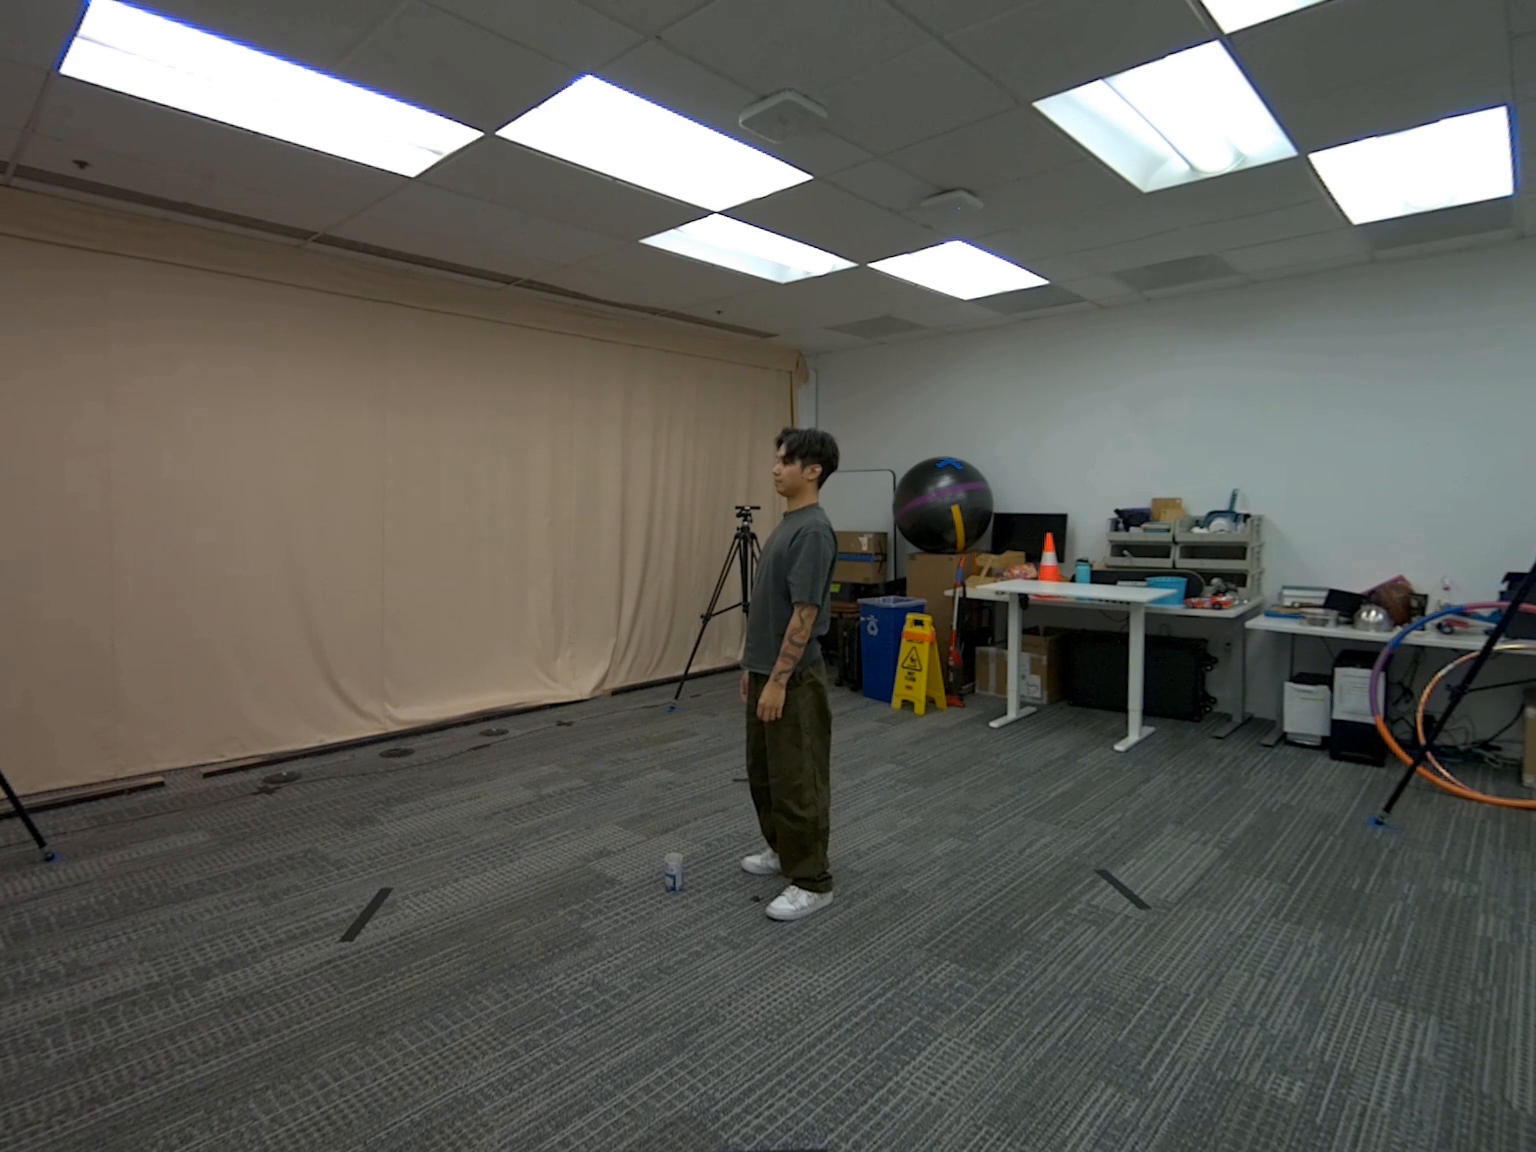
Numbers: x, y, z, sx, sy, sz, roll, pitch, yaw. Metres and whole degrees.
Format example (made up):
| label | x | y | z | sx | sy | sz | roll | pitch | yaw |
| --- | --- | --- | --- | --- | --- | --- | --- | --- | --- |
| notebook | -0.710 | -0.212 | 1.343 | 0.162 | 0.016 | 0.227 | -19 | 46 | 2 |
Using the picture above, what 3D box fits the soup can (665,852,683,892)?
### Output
| label | x | y | z | sx | sy | sz | roll | pitch | yaw |
| --- | --- | --- | --- | --- | --- | --- | --- | --- | --- |
| soup can | -0.337 | 1.076 | 3.062 | 0.067 | 0.121 | 0.067 | 1 | 4 | -2 |
